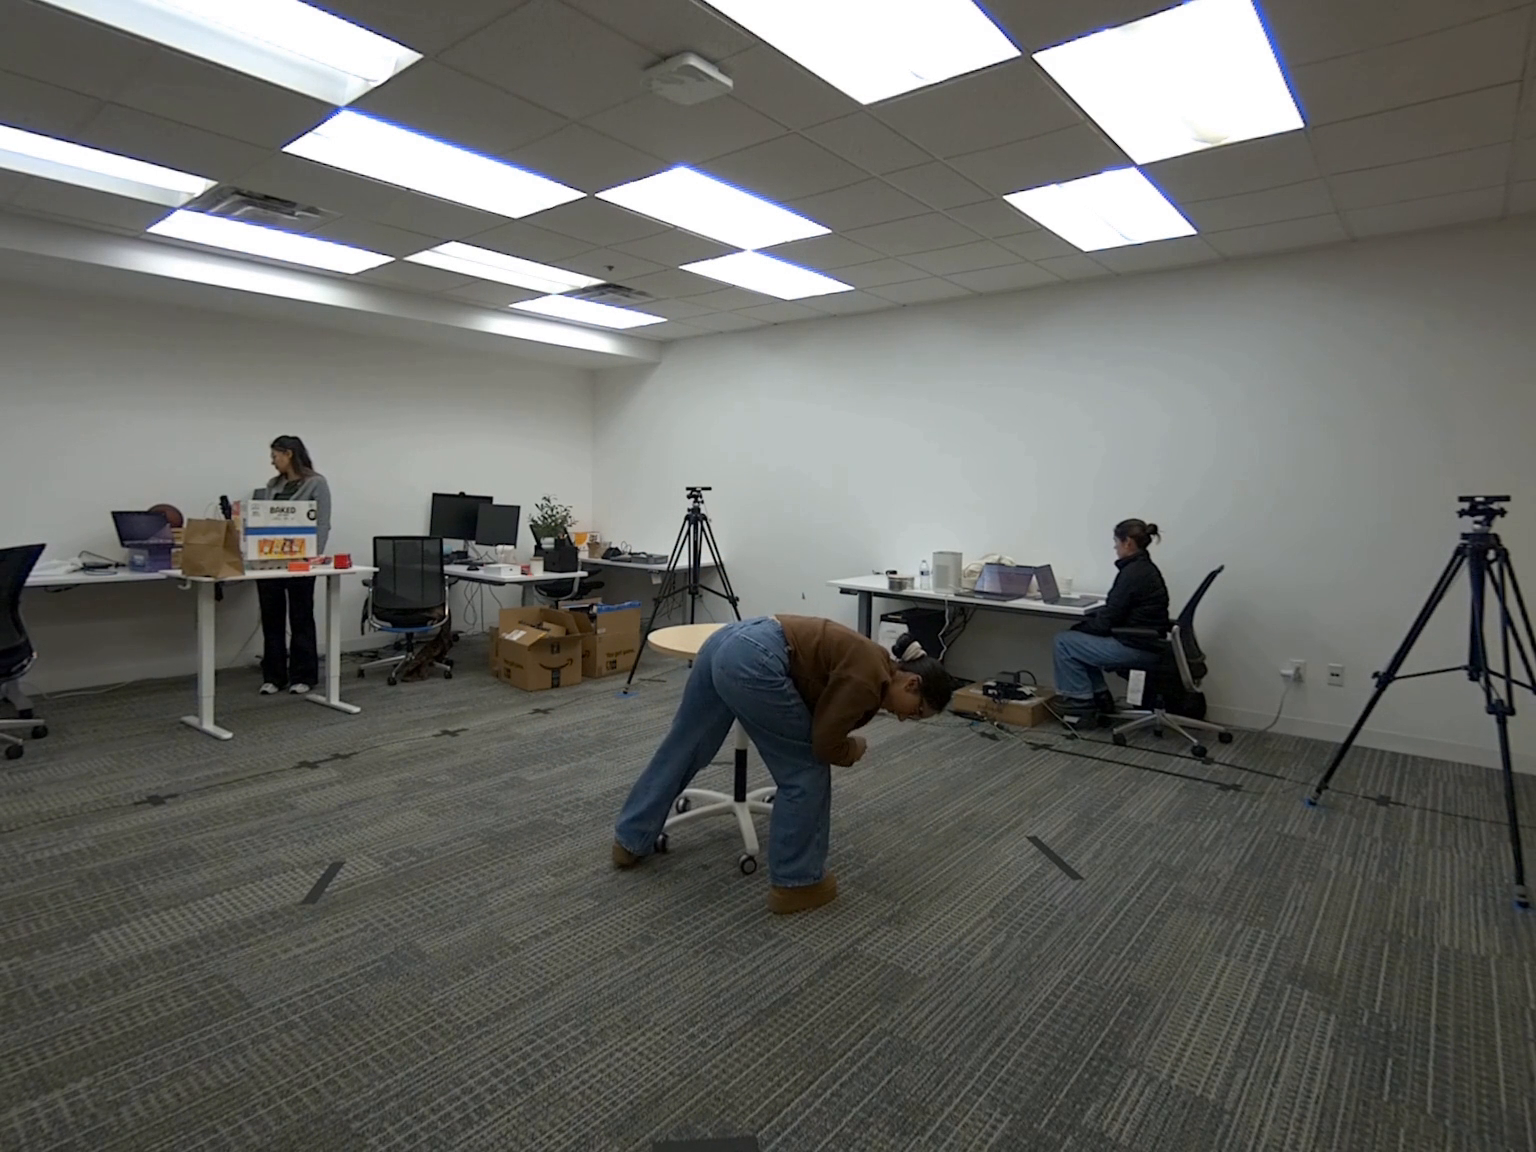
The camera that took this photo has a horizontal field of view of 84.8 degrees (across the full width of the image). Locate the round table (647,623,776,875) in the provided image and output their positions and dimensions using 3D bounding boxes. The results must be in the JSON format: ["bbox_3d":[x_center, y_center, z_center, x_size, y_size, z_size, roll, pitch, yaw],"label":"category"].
[{"bbox_3d":[-0.116,0.644,3.403,0.763,0.792,0.767,1,4,-2],"label":"round table"}]
